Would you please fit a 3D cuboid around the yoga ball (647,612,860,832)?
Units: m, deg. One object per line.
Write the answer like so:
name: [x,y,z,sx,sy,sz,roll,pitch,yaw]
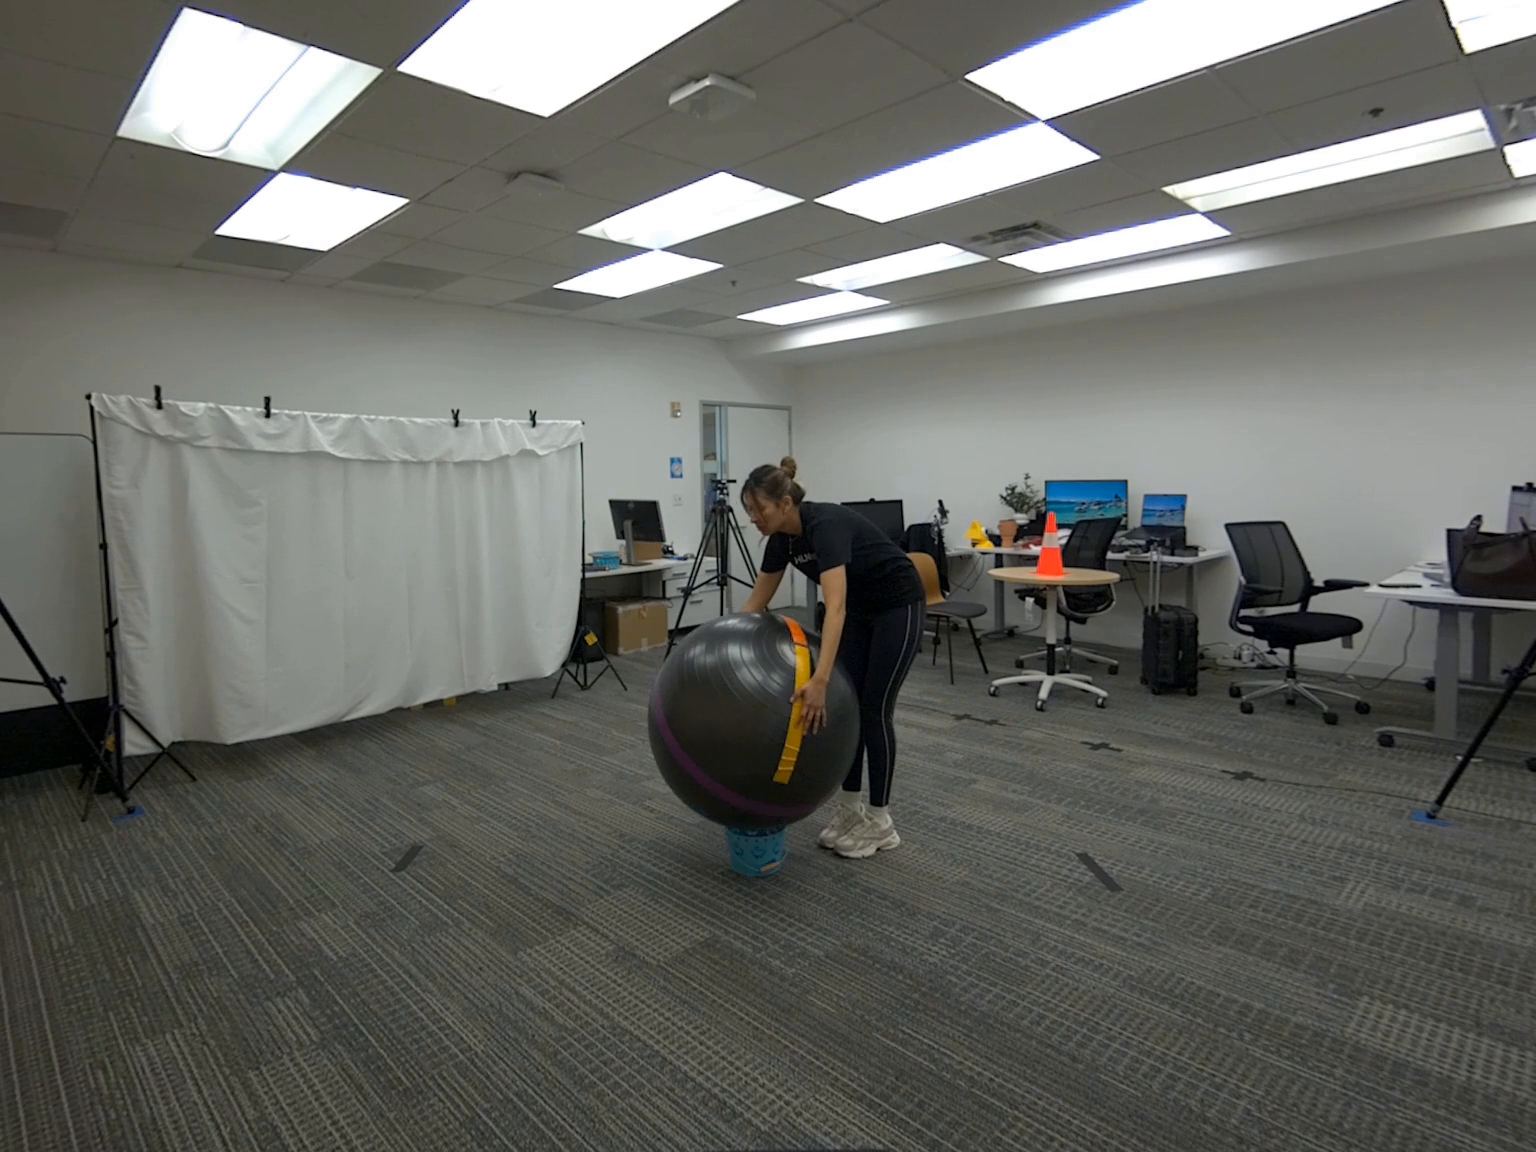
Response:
yoga ball: [-0.049,0.500,3.049,0.757,0.755,0.762,-1,5,-2]
